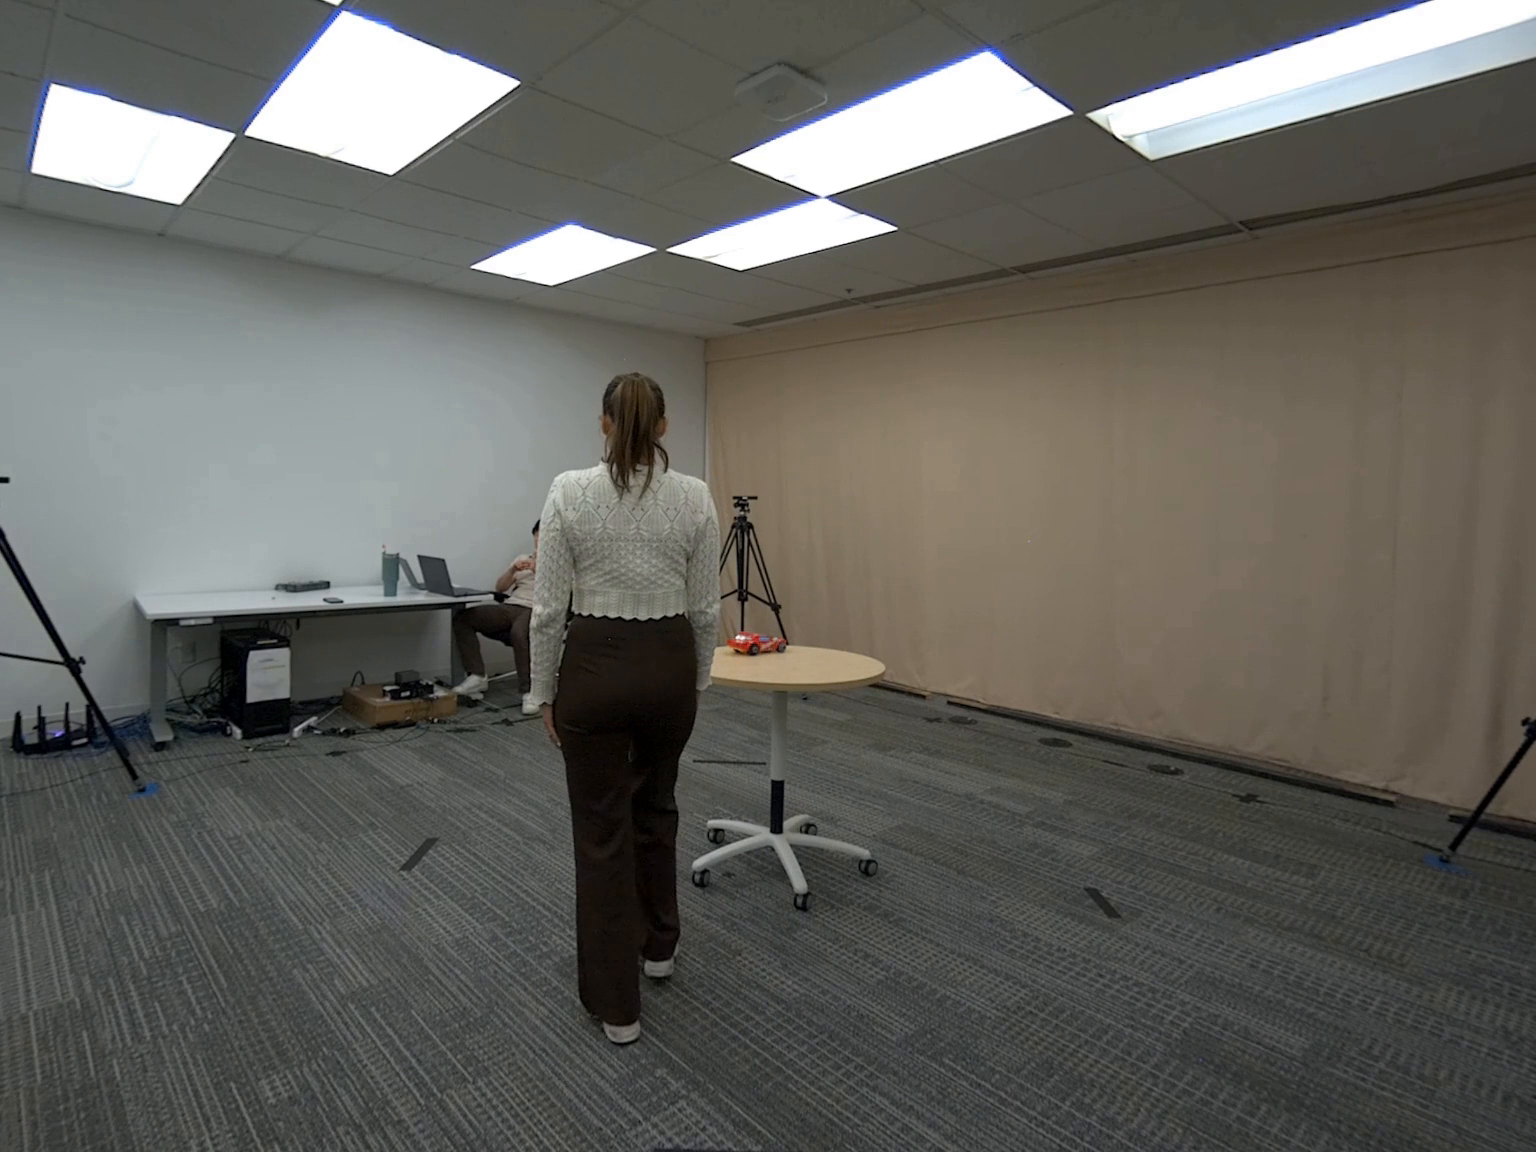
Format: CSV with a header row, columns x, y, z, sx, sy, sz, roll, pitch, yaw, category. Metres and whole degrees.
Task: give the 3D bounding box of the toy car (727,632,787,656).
x,y,z,sx,sy,sz,roll,pitch,yaw,category
-0.060,0.272,3.322,0.248,0.083,0.133,12,-4,-39,toy car
